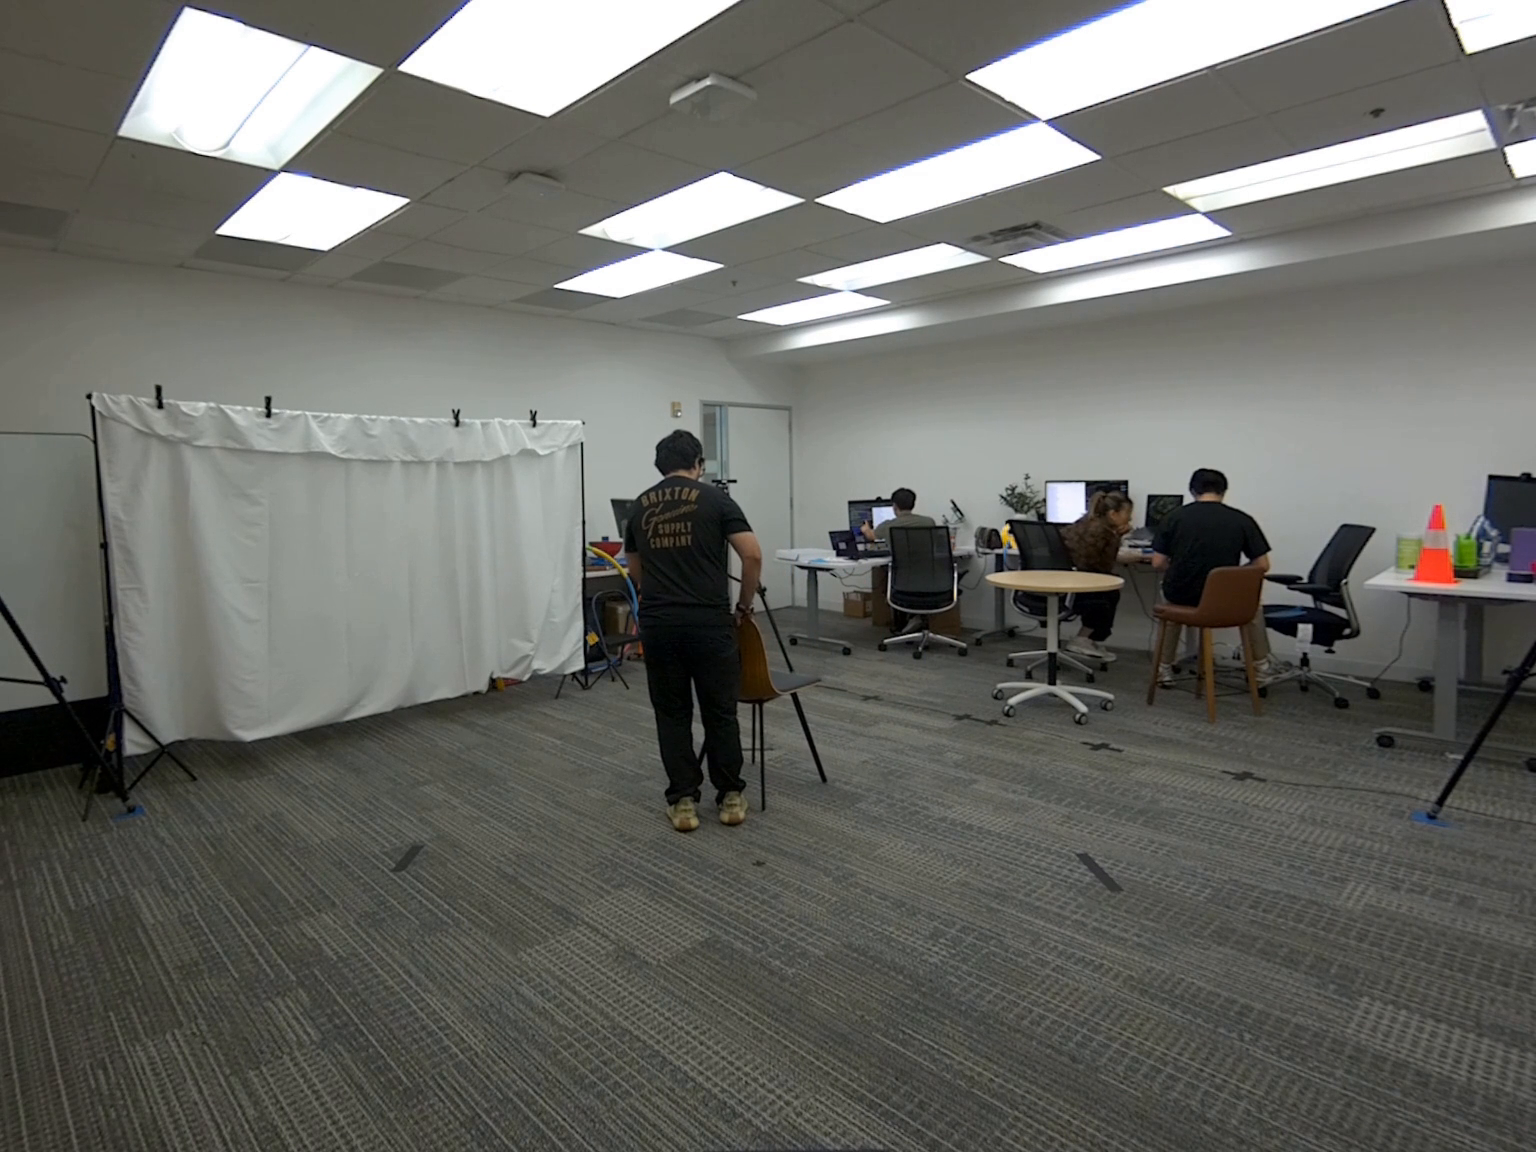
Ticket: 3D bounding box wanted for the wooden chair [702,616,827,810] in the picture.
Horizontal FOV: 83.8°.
[{"bbox_3d":[-0.047,0.530,3.898,0.492,0.871,0.511,2,10,42],"label":"wooden chair"}]
